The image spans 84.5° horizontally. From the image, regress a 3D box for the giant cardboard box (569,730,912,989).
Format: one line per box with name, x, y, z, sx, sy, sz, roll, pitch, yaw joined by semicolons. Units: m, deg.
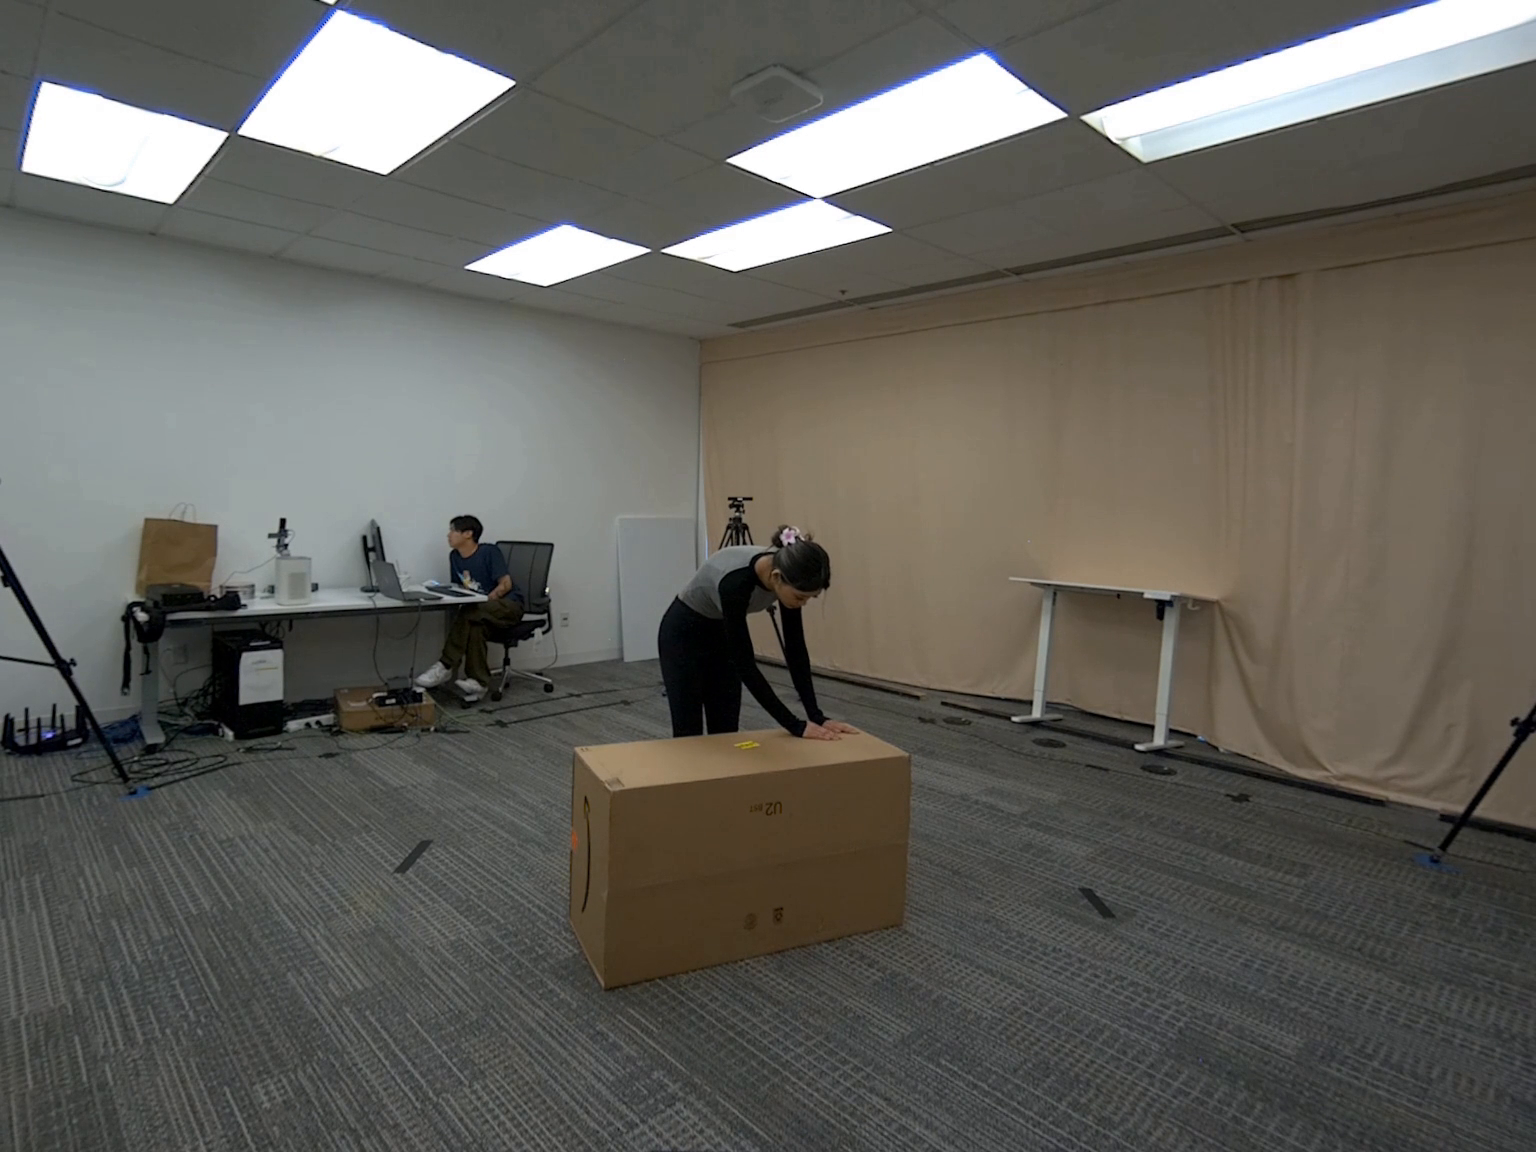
giant cardboard box;-0.092;0.854;2.742;1.008;0.576;0.435;0;4;-24
